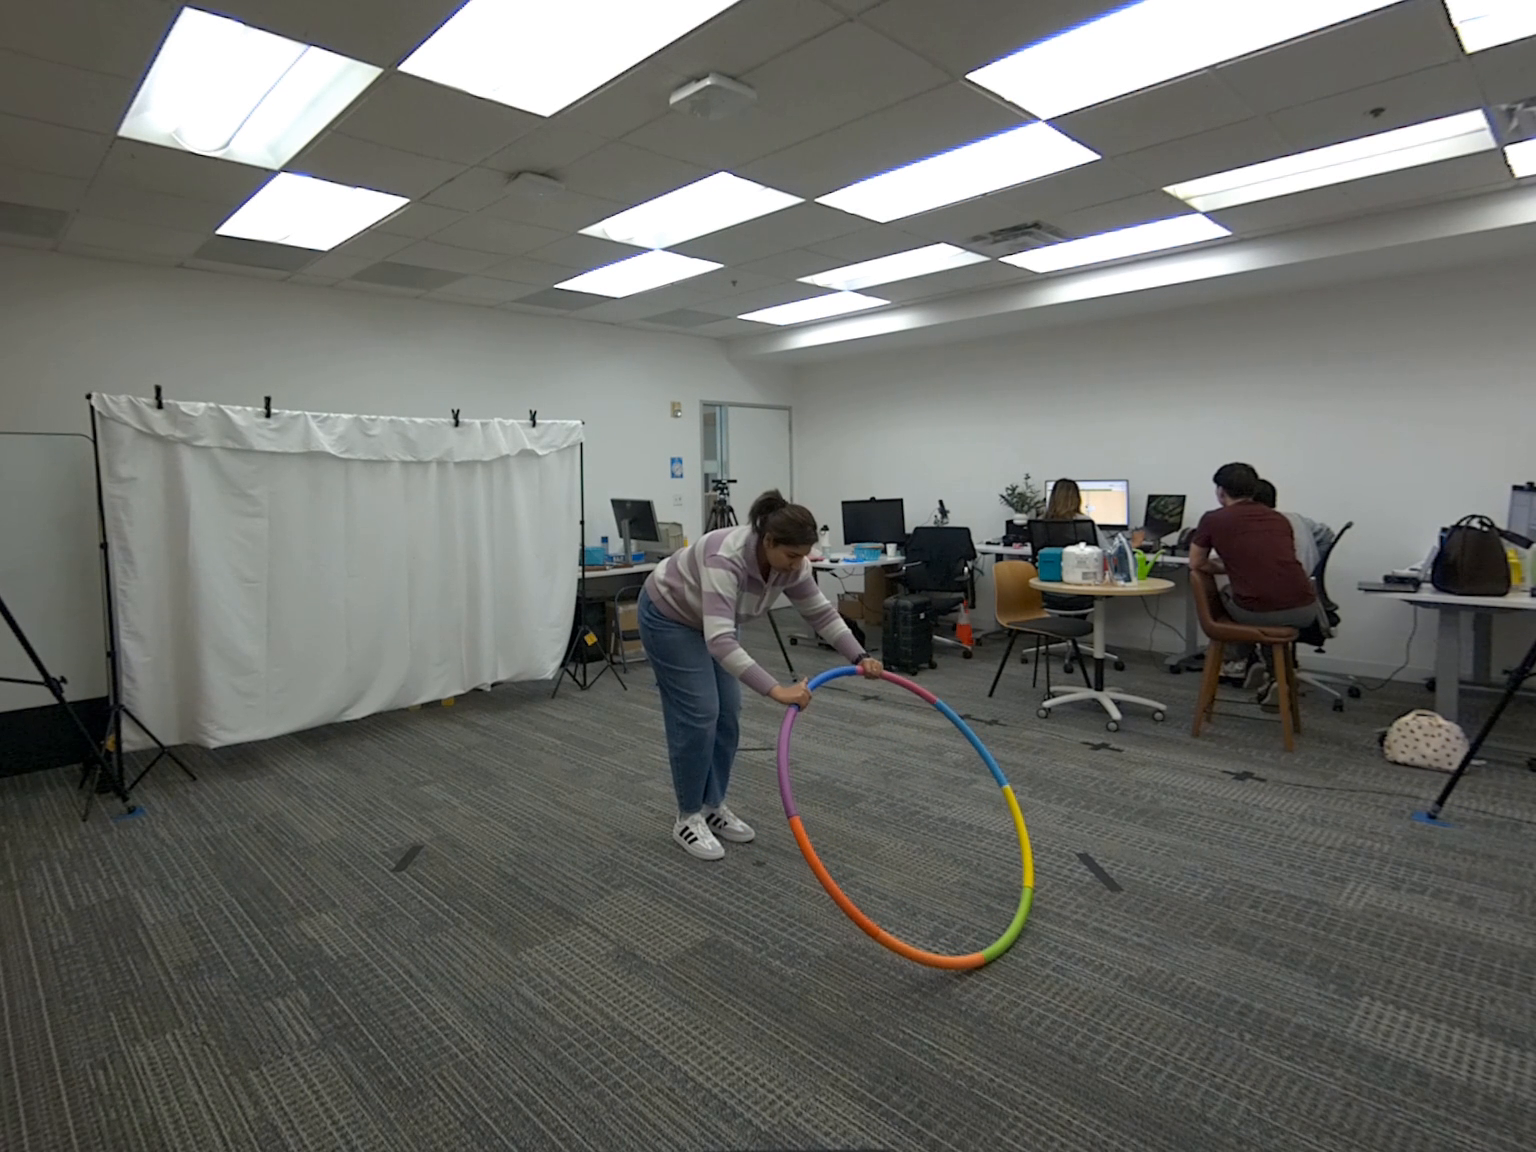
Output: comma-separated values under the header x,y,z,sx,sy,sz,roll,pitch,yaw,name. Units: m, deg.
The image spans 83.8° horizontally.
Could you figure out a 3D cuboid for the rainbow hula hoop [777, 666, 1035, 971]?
x,y,z,sx,sy,sz,roll,pitch,yaw,name
0.448,0.707,2.699,0.953,1.008,0.035,-6,-35,-42,rainbow hula hoop
